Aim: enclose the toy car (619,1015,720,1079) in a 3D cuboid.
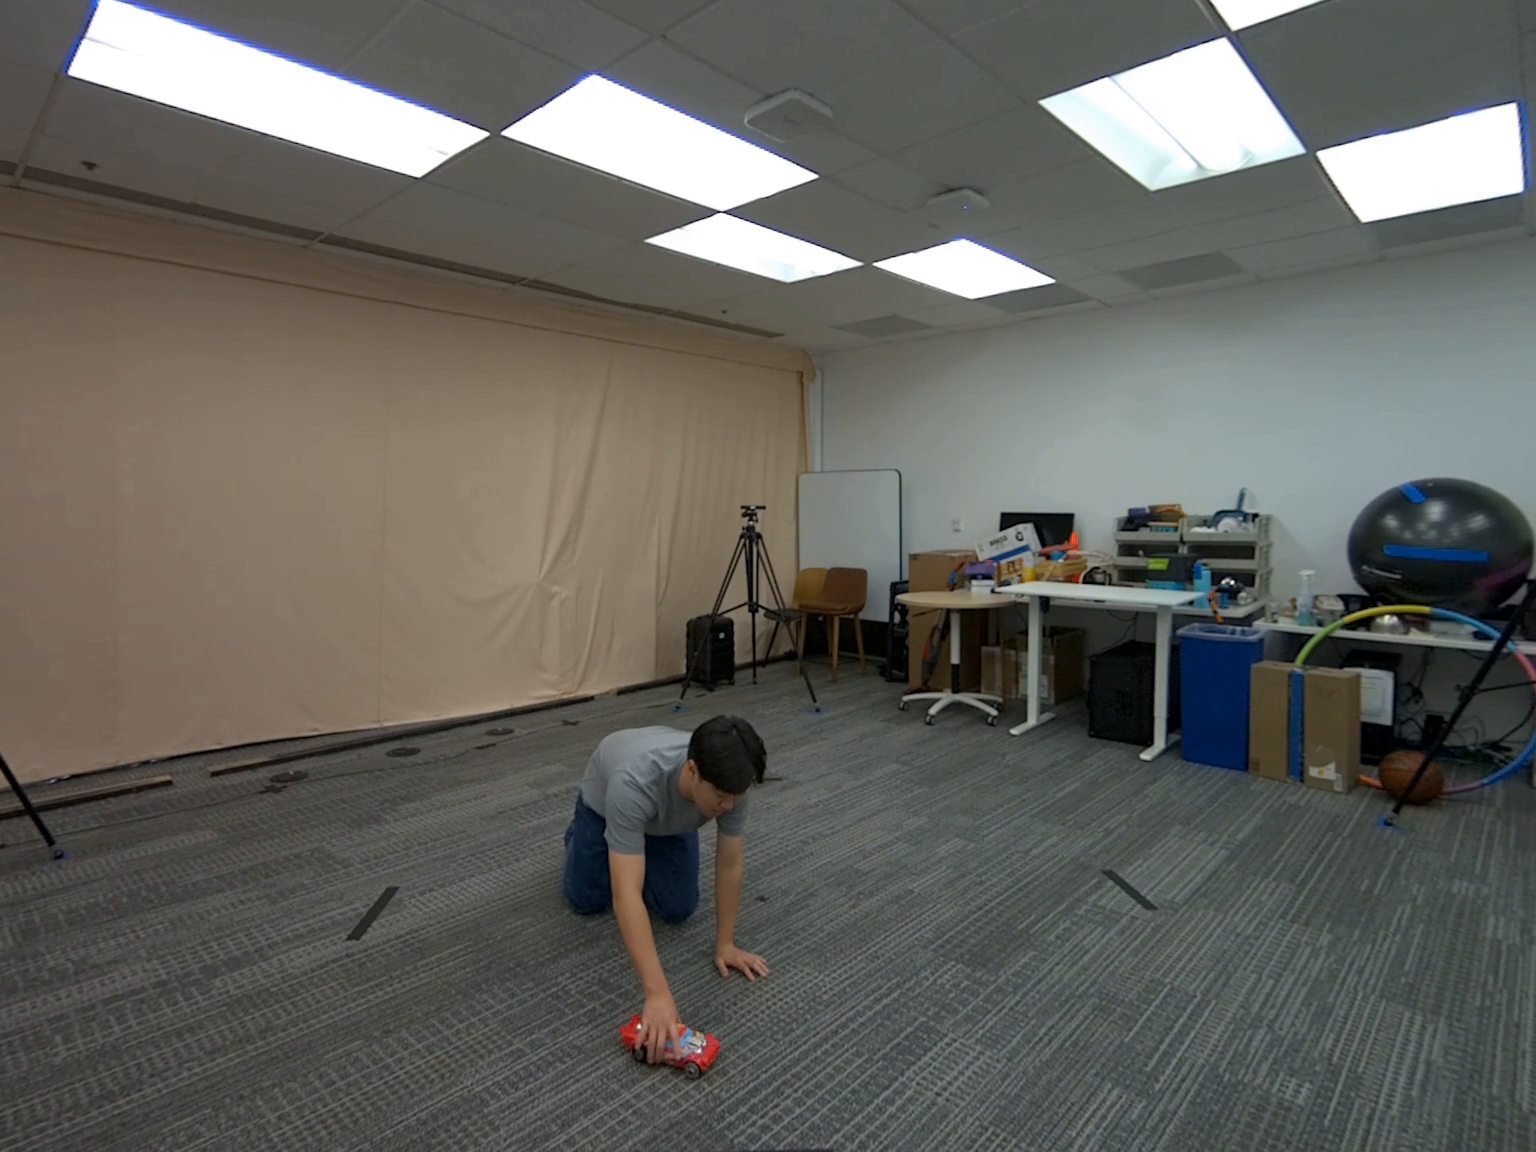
[{"bbox_3d":[-0.266,1.180,2.138,0.261,0.083,0.127,13,10,21],"label":"toy car"}]
